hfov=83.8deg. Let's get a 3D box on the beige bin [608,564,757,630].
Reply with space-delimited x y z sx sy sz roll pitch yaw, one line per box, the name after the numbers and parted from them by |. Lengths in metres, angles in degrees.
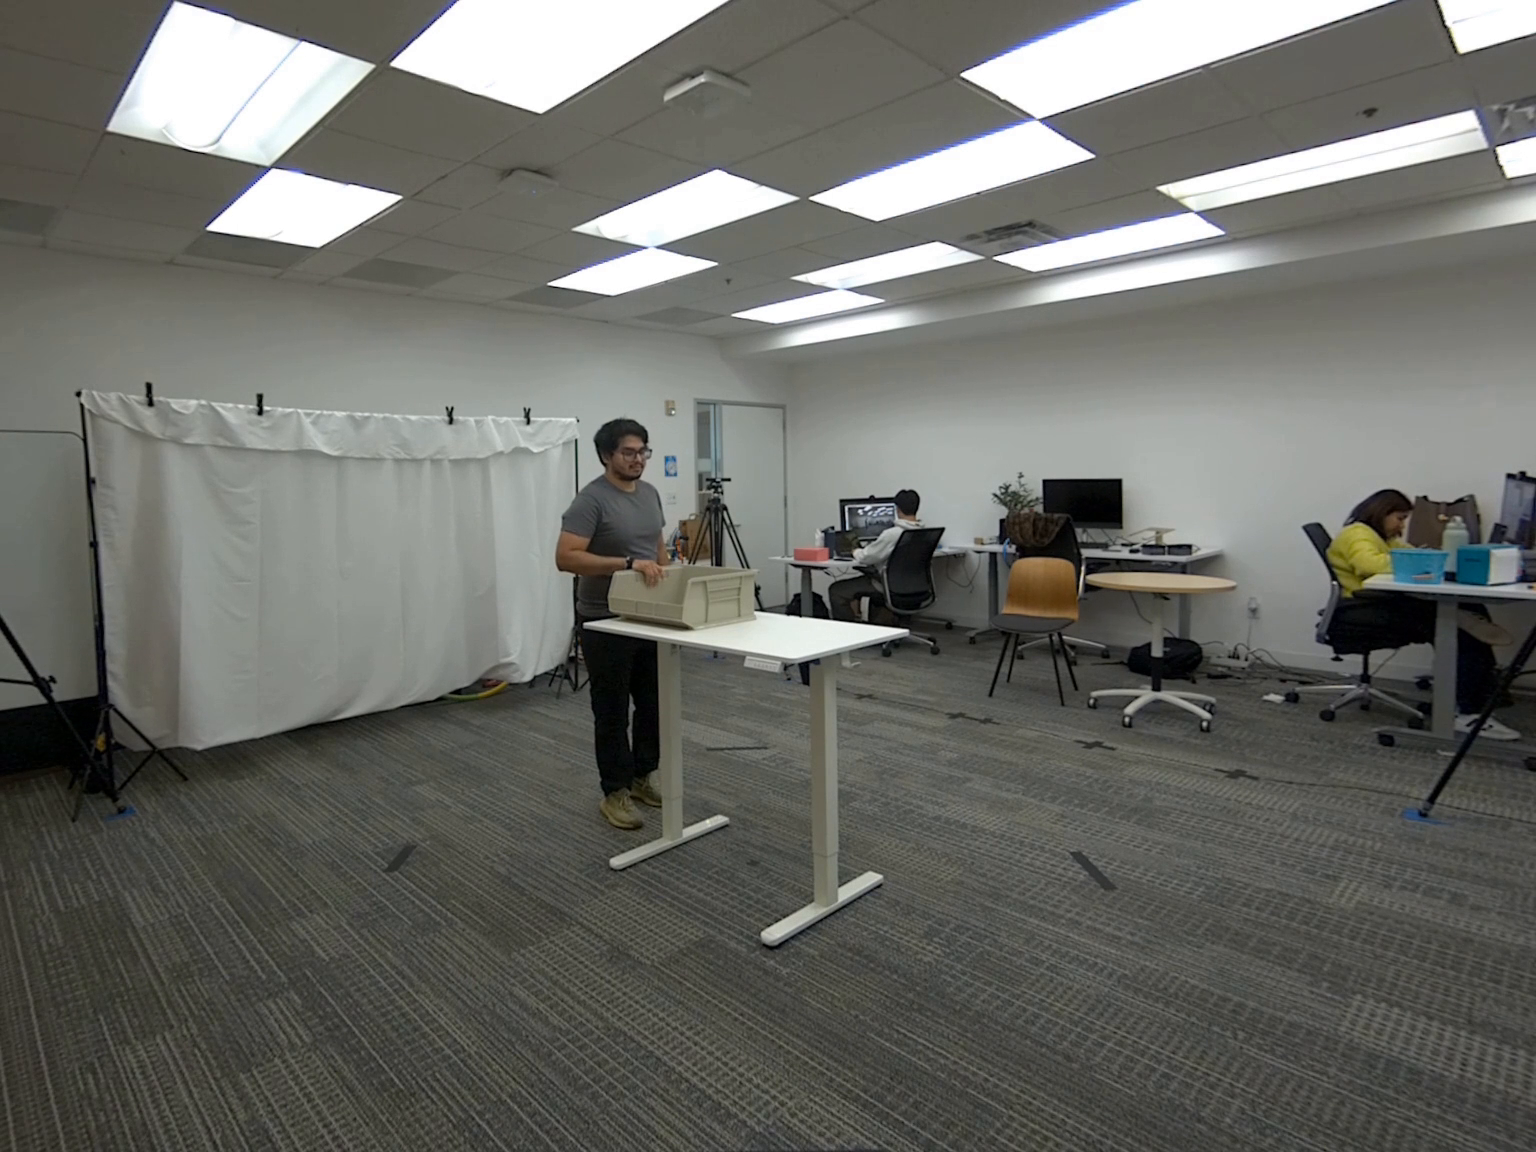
-0.311 0.073 3.133 0.435 0.188 0.367 4 6 44 | beige bin
